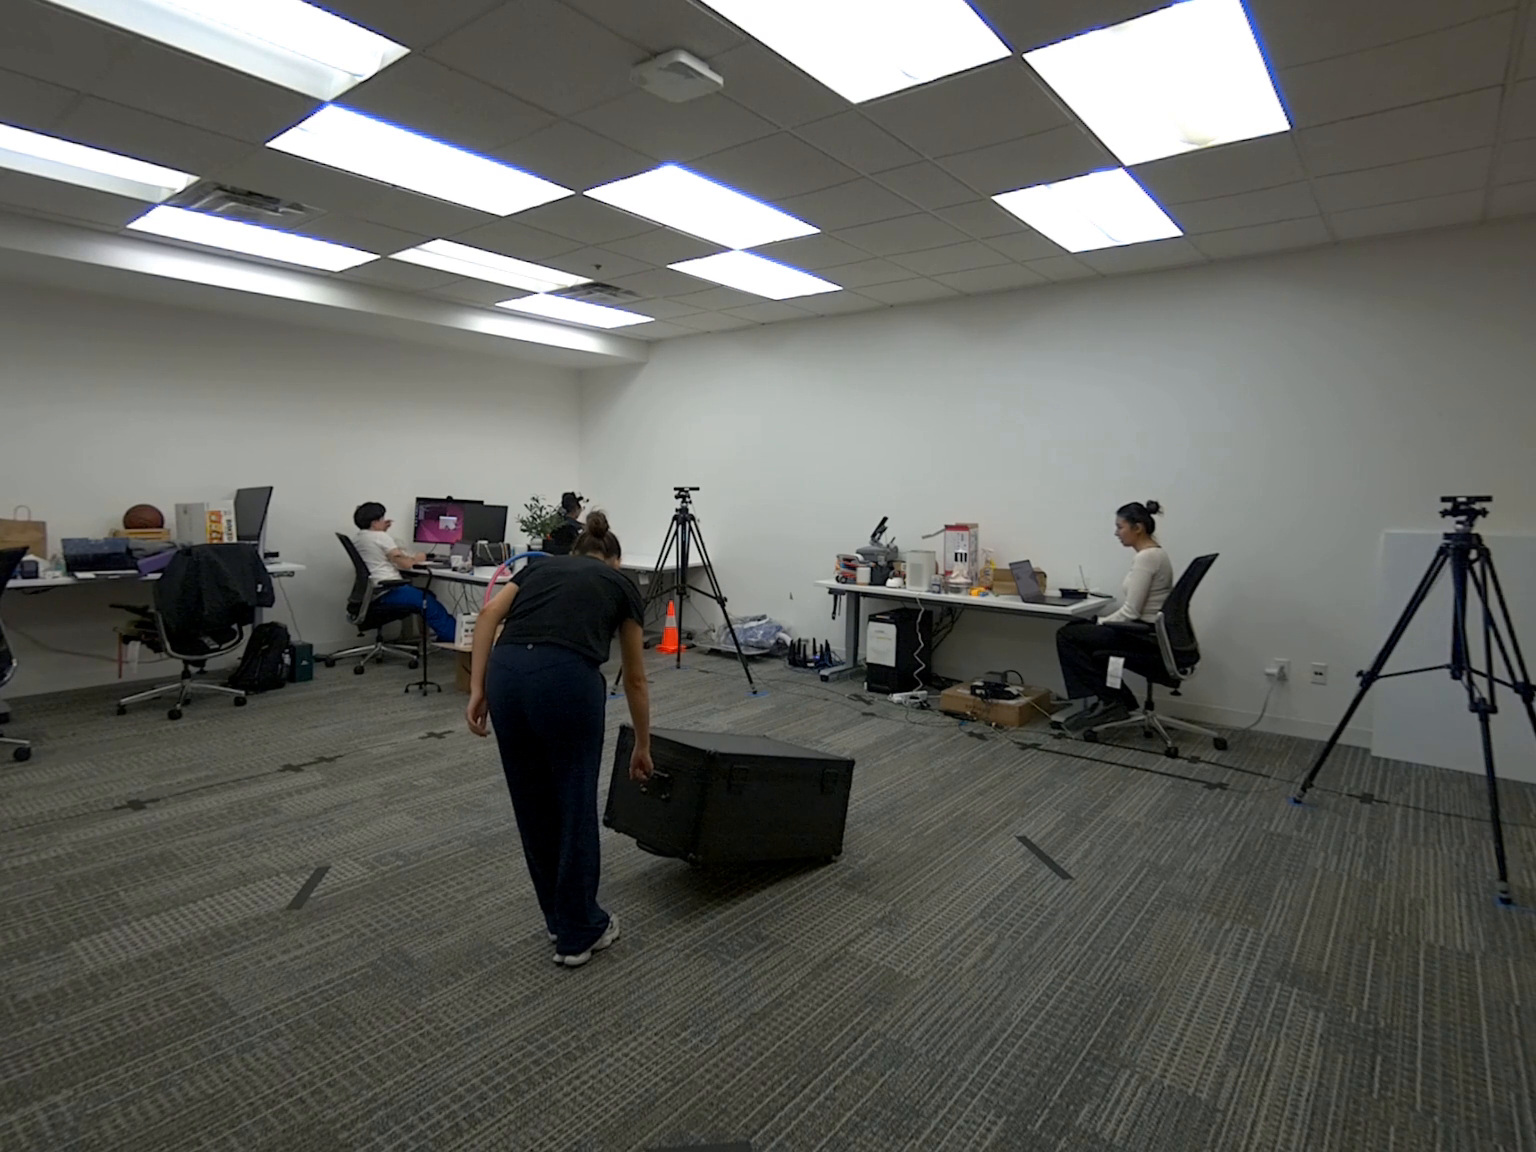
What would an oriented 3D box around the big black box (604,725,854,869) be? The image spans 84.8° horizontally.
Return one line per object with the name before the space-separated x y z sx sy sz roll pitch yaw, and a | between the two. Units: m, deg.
big black box | -0.131 0.793 3.123 0.538 0.399 0.829 2 -10 45
